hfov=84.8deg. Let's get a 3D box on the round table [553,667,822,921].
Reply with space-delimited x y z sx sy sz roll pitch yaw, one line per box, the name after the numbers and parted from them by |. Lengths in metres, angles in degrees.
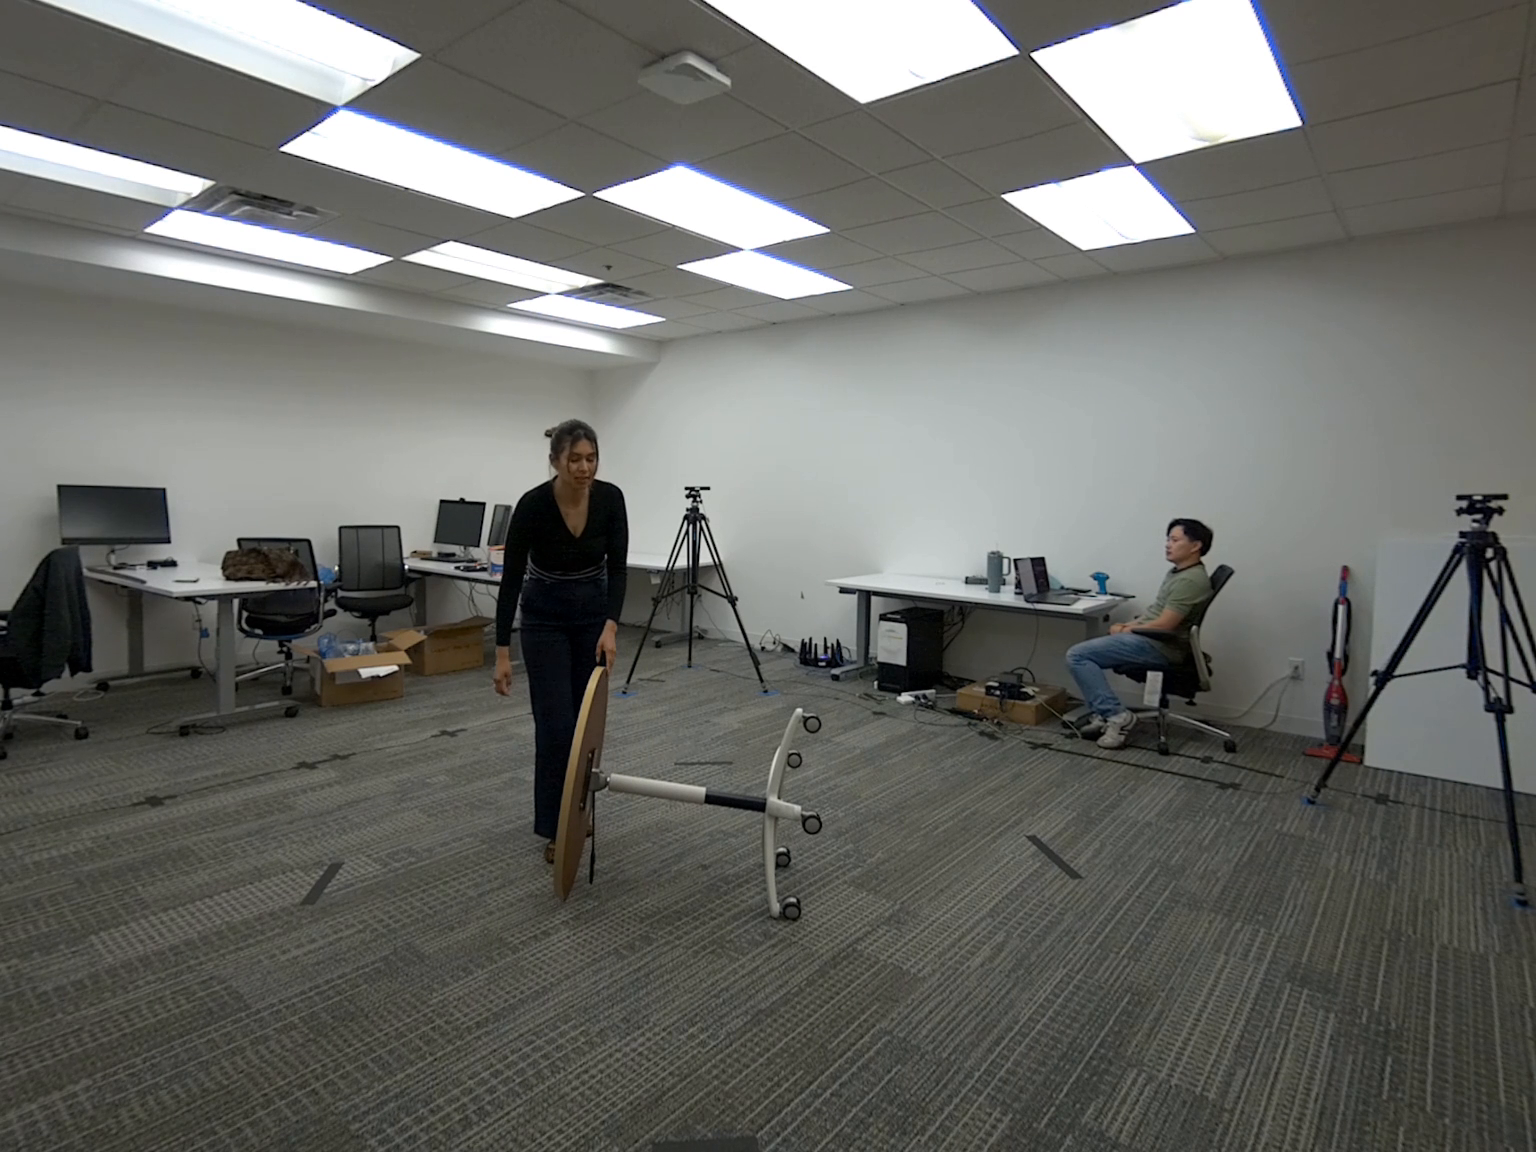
-0.268 0.755 2.935 0.793 0.762 0.767 8 4 -2 | round table
